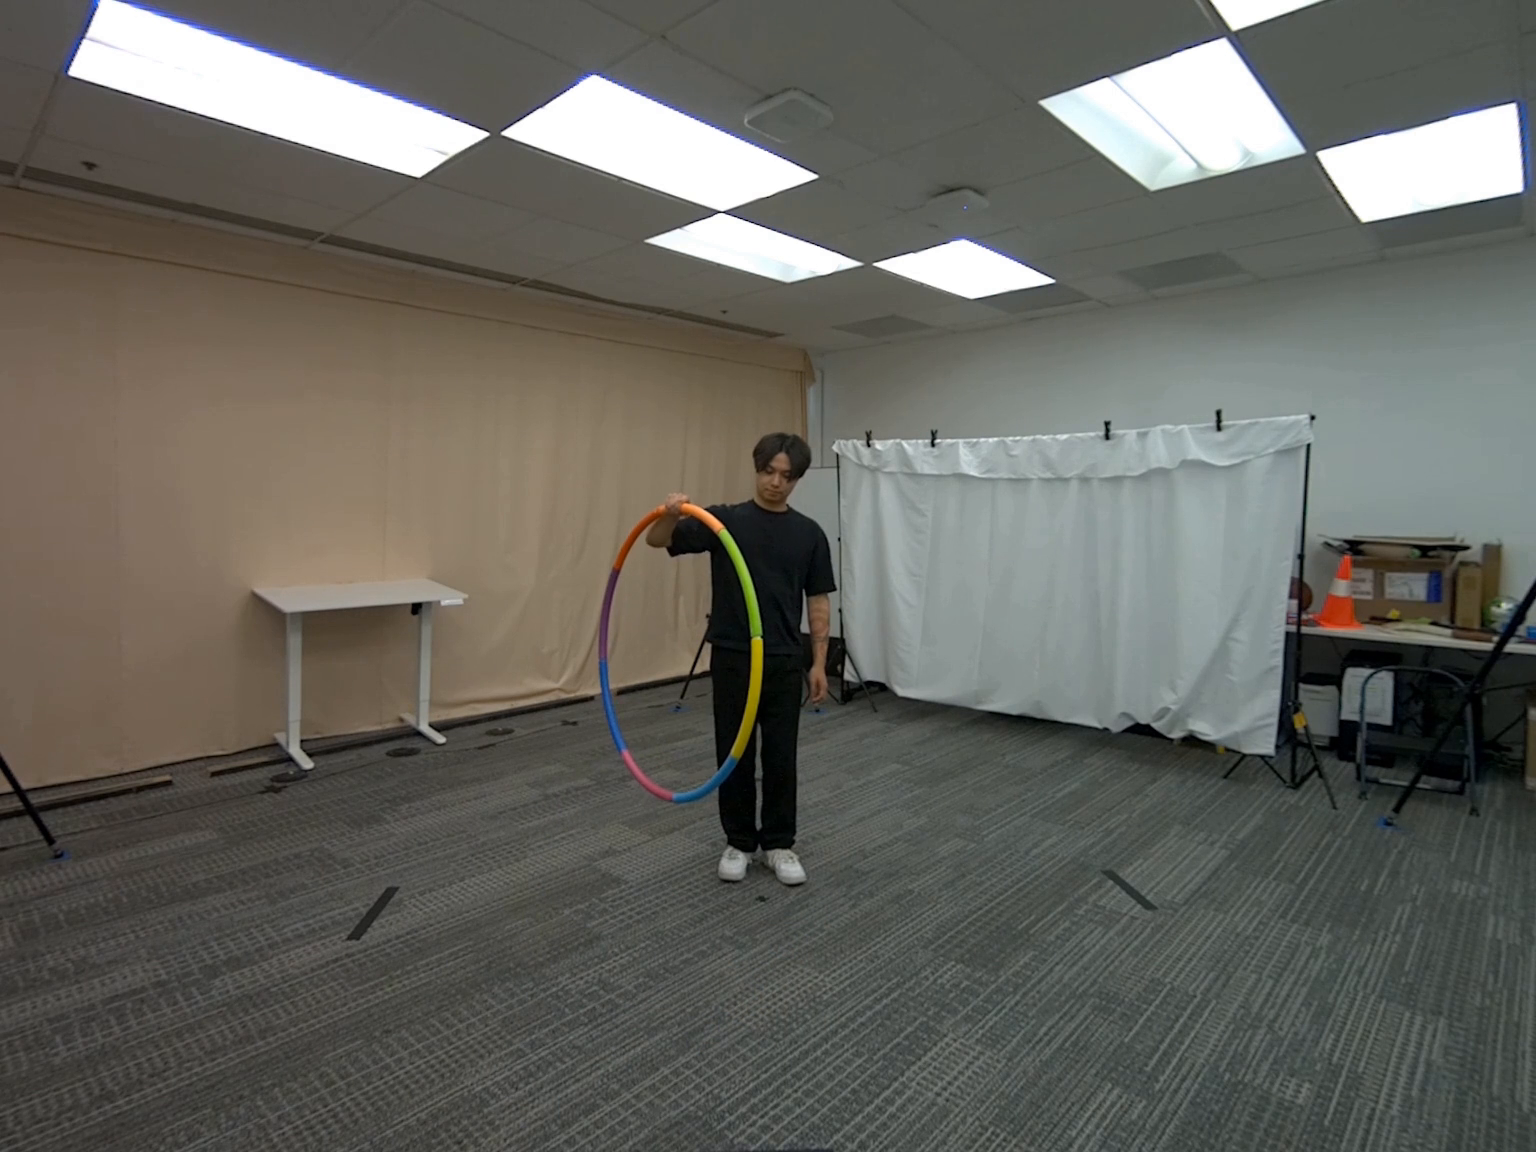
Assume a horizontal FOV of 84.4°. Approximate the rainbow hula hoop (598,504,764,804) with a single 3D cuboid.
[{"bbox_3d":[-0.308,0.241,2.855,0.034,0.979,1.010,6,-1,-39],"label":"rainbow hula hoop"}]
